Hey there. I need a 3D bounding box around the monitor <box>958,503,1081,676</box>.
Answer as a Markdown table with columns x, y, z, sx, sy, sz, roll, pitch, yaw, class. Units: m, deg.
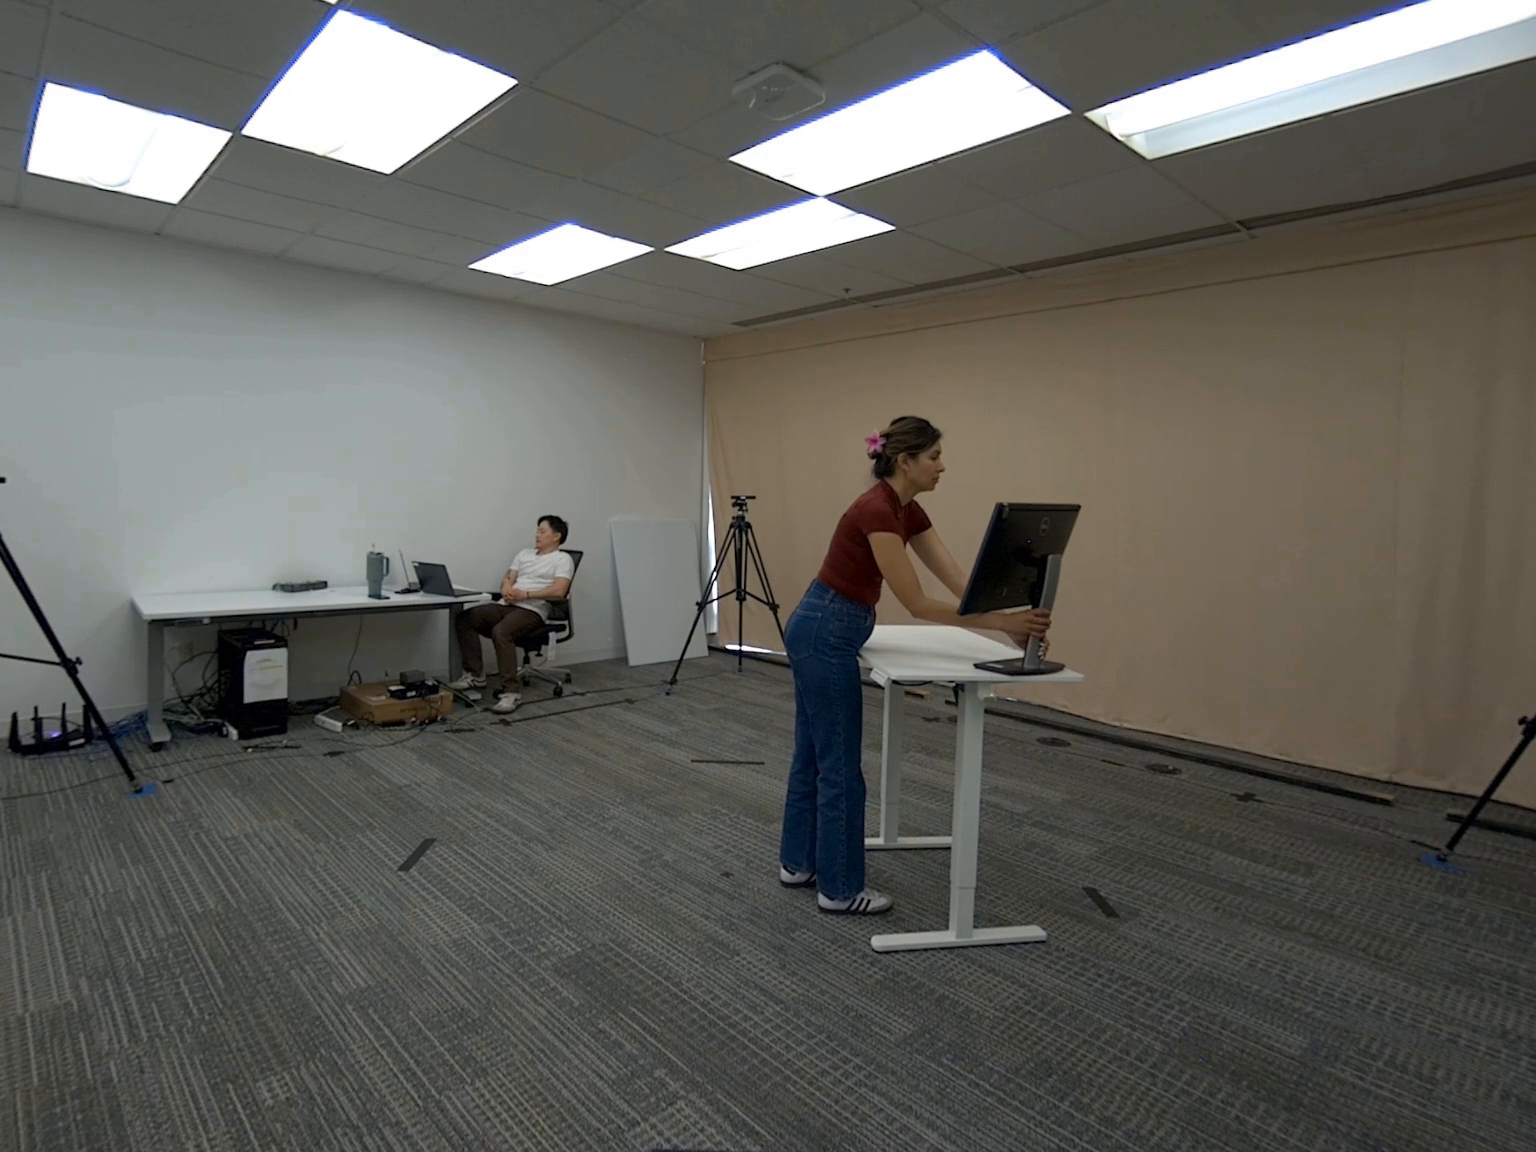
| x | y | z | sx | sy | sz | roll | pitch | yaw | class |
| --- | --- | --- | --- | --- | --- | --- | --- | --- | --- |
| 0.793 | 0.032 | 2.599 | 0.527 | 0.520 | 0.192 | -3 | 9 | -45 | monitor |
